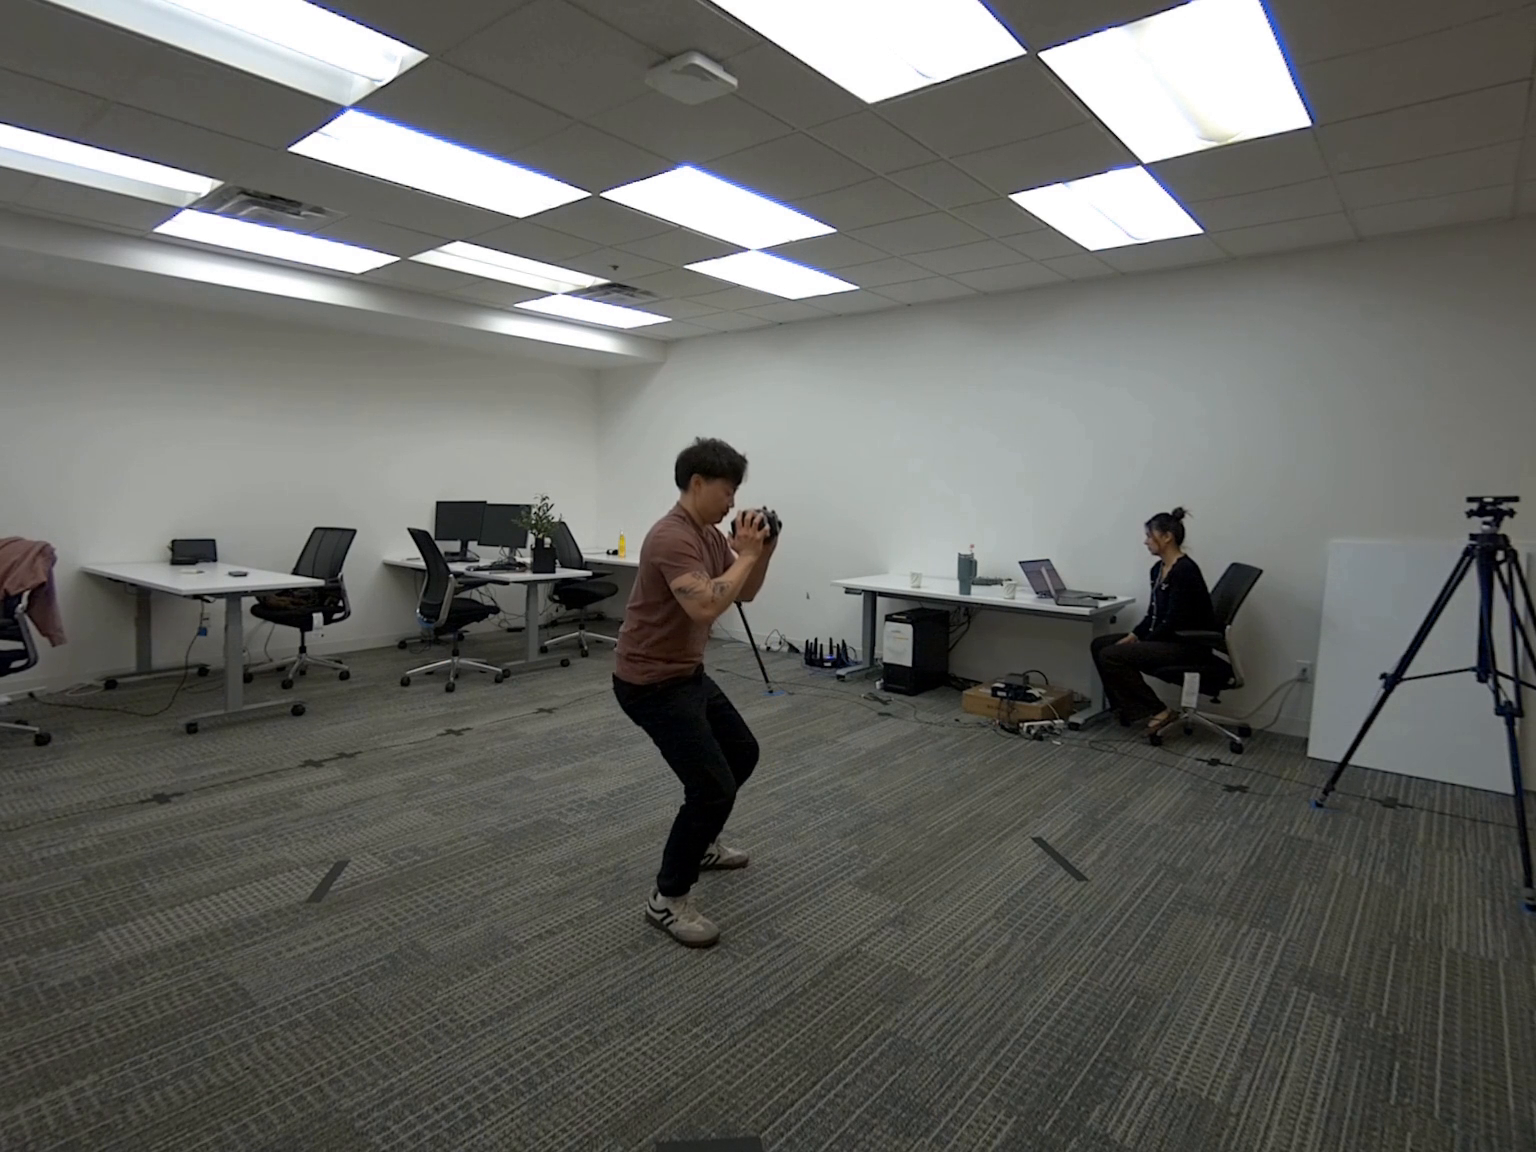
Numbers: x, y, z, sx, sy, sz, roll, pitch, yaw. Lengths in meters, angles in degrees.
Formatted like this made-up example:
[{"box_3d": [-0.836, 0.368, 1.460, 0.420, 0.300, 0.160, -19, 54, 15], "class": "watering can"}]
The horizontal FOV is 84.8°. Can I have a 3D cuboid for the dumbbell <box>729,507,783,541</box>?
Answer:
[{"box_3d": [-0.052, -0.144, 2.801, 0.123, 0.110, 0.290, -42, -6, 9], "class": "dumbbell"}]
